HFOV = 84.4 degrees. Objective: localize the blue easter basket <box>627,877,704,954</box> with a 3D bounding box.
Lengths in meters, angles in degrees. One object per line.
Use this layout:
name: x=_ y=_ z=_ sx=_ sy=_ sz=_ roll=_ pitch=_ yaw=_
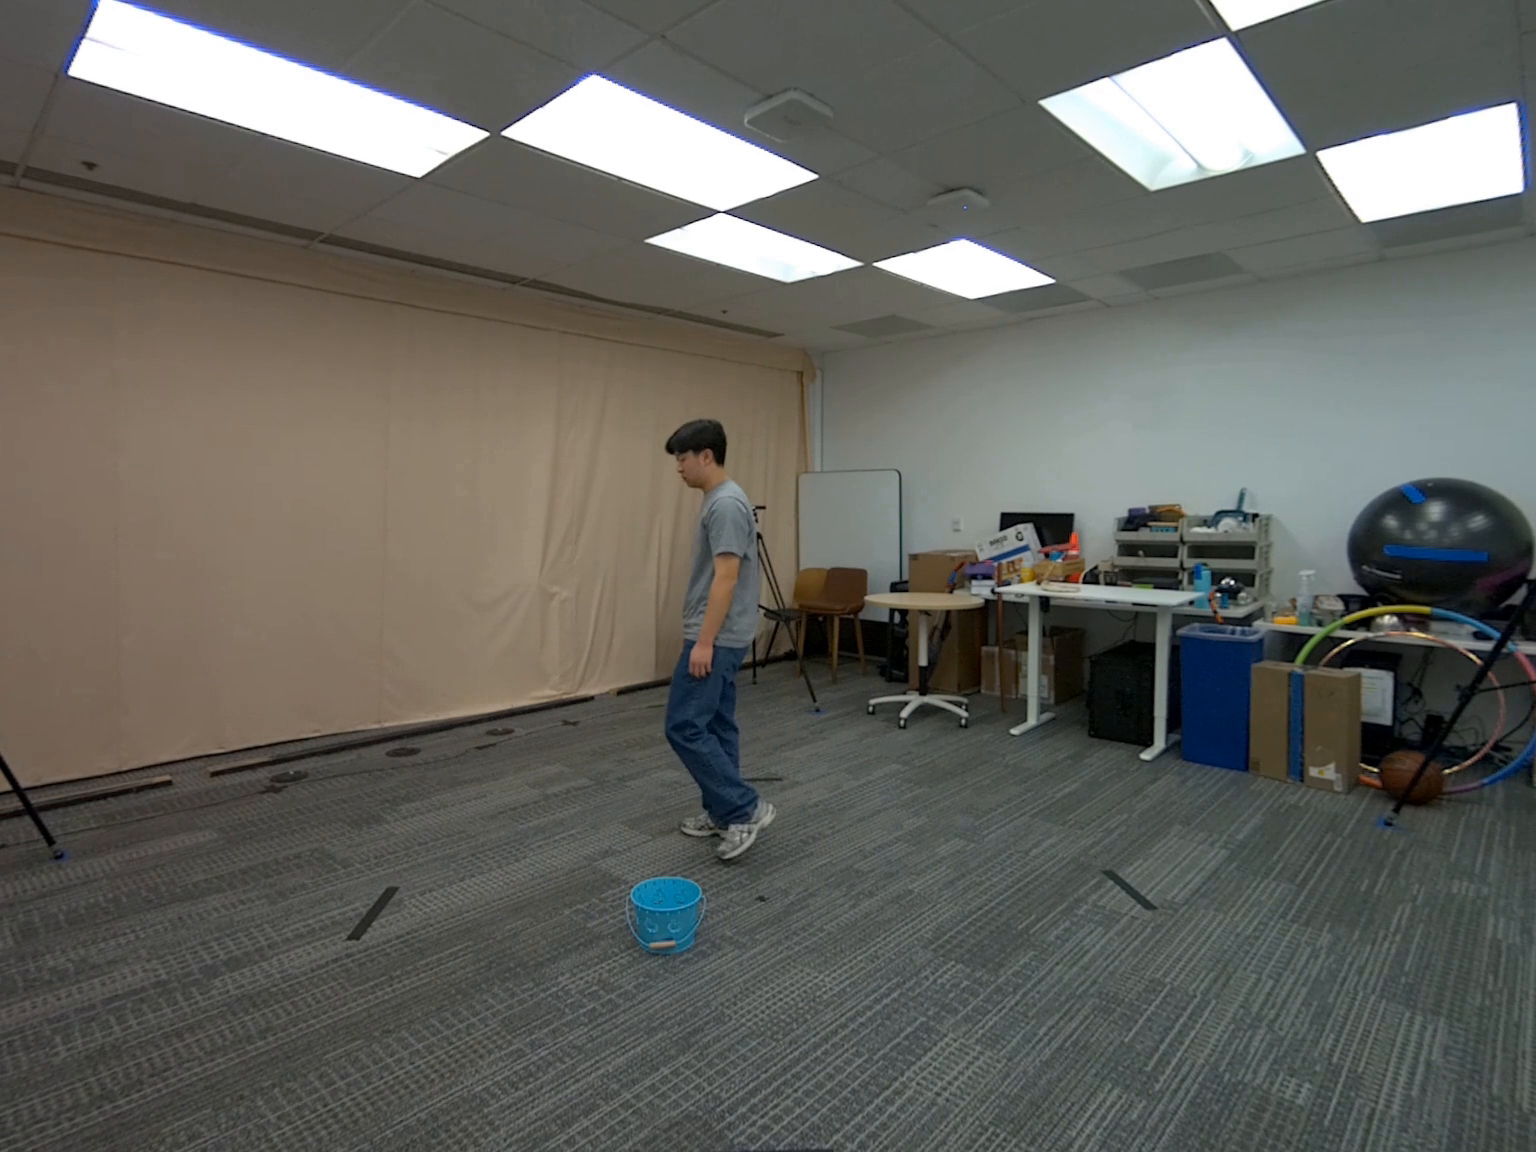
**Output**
blue easter basket: x=-0.329 y=1.085 z=2.703 sx=0.243 sy=0.155 sz=0.244 roll=0 pitch=4 yaw=-2
